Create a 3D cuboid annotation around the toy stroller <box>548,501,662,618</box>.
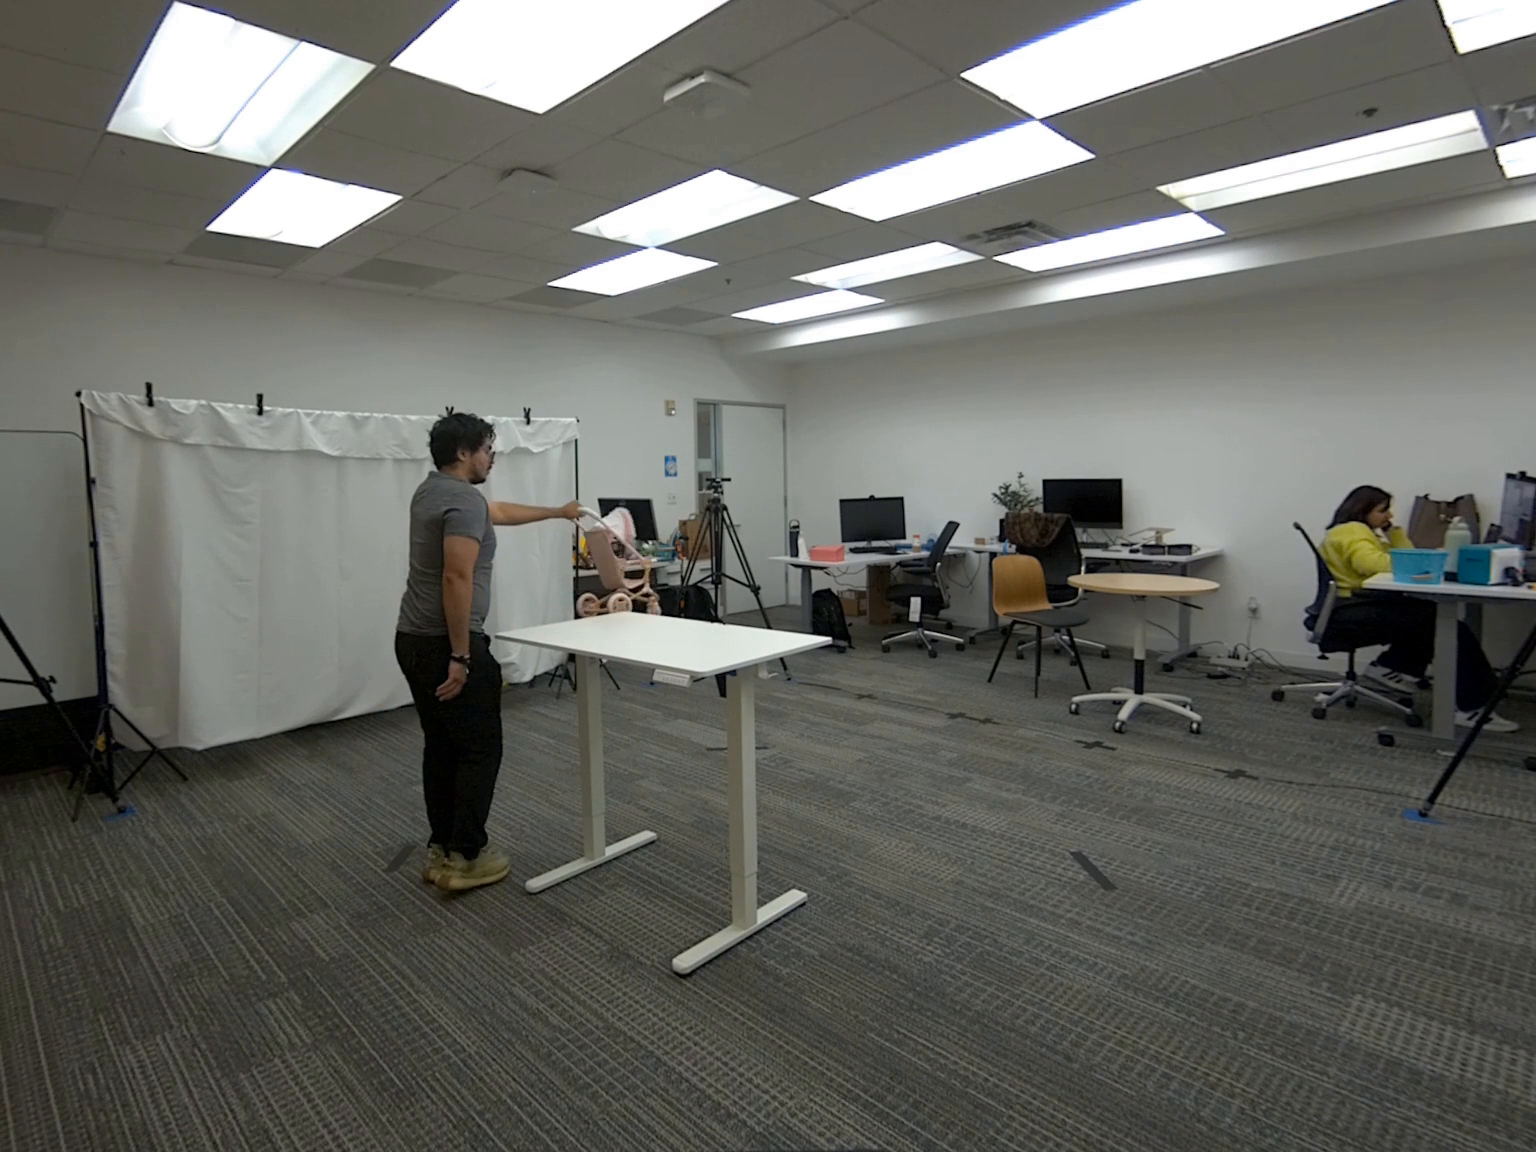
[{"bbox_3d":[-0.629,-0.044,3.606,0.334,0.533,0.289,-13,5,-36],"label":"toy stroller"}]
